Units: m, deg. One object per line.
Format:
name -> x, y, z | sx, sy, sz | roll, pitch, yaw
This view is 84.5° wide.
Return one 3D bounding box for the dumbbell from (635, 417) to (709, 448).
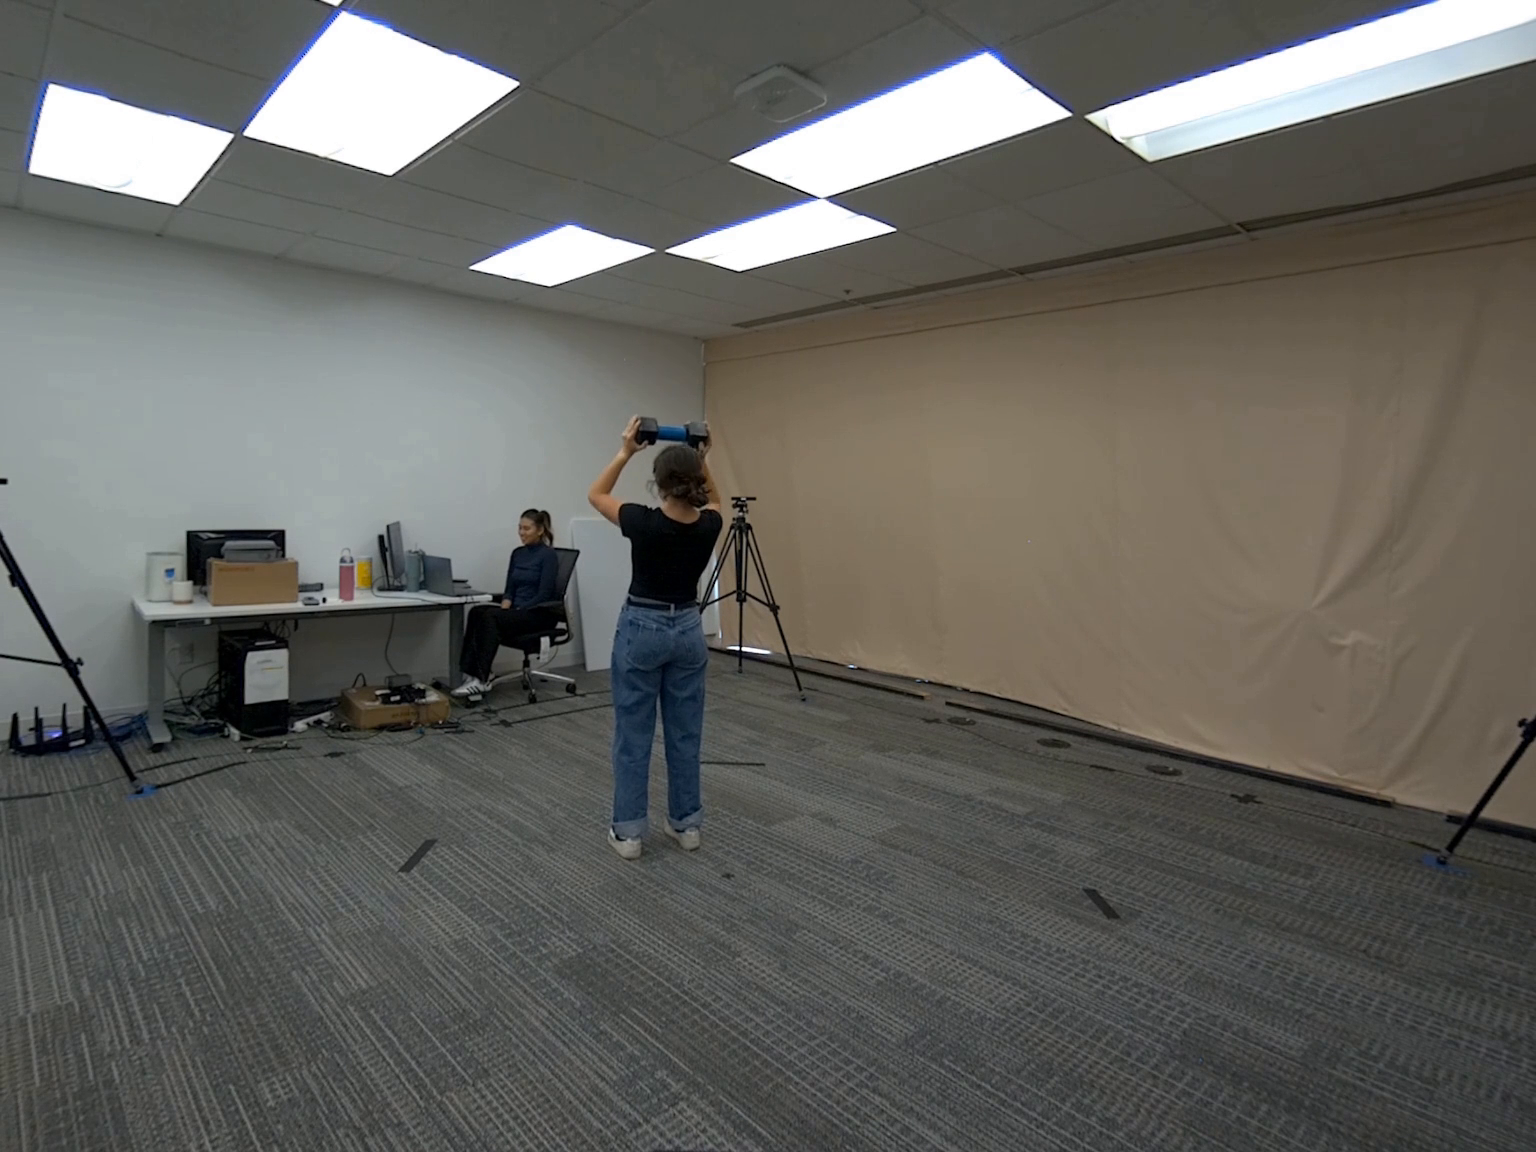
dumbbell -> -0.394, -0.569, 3.335 | 0.288, 0.125, 0.108 | 2, -27, -25
